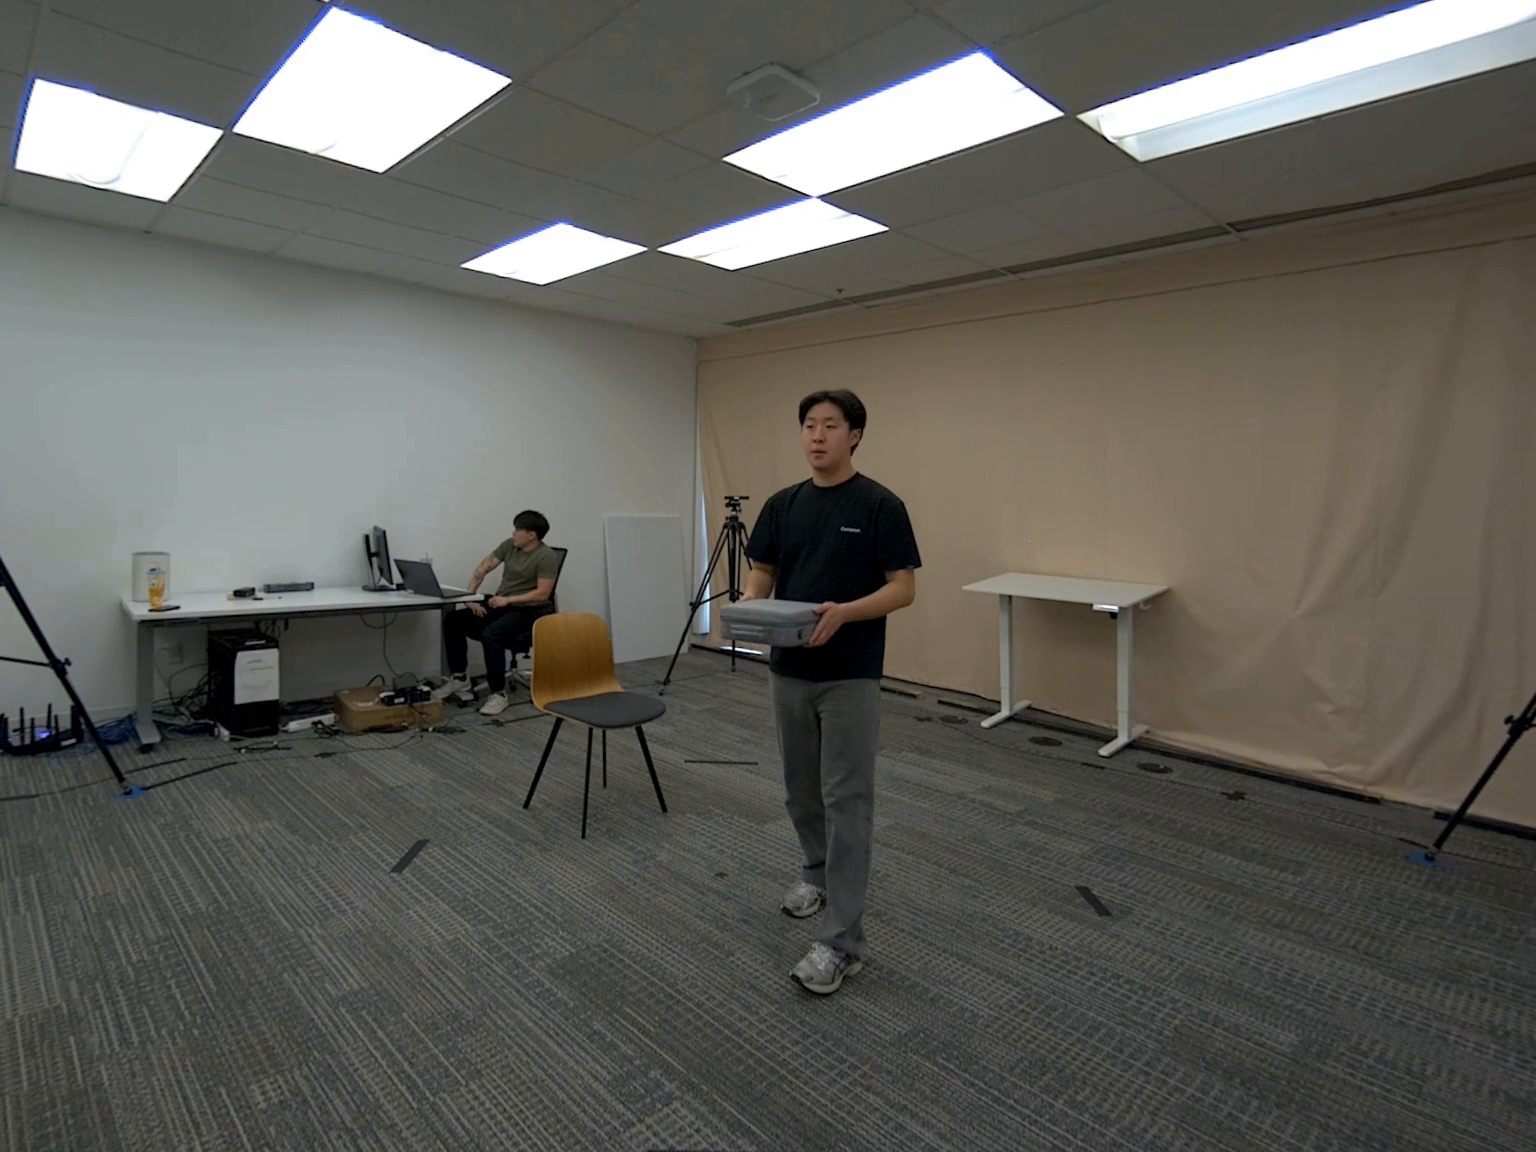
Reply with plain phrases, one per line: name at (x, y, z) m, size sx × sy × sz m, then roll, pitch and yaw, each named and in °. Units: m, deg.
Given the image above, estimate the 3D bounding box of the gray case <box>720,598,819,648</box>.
gray case at (0.011, 0.135, 2.436) m, size 0.270 × 0.103 × 0.281 m, roll 5°, pitch 6°, yaw 37°
